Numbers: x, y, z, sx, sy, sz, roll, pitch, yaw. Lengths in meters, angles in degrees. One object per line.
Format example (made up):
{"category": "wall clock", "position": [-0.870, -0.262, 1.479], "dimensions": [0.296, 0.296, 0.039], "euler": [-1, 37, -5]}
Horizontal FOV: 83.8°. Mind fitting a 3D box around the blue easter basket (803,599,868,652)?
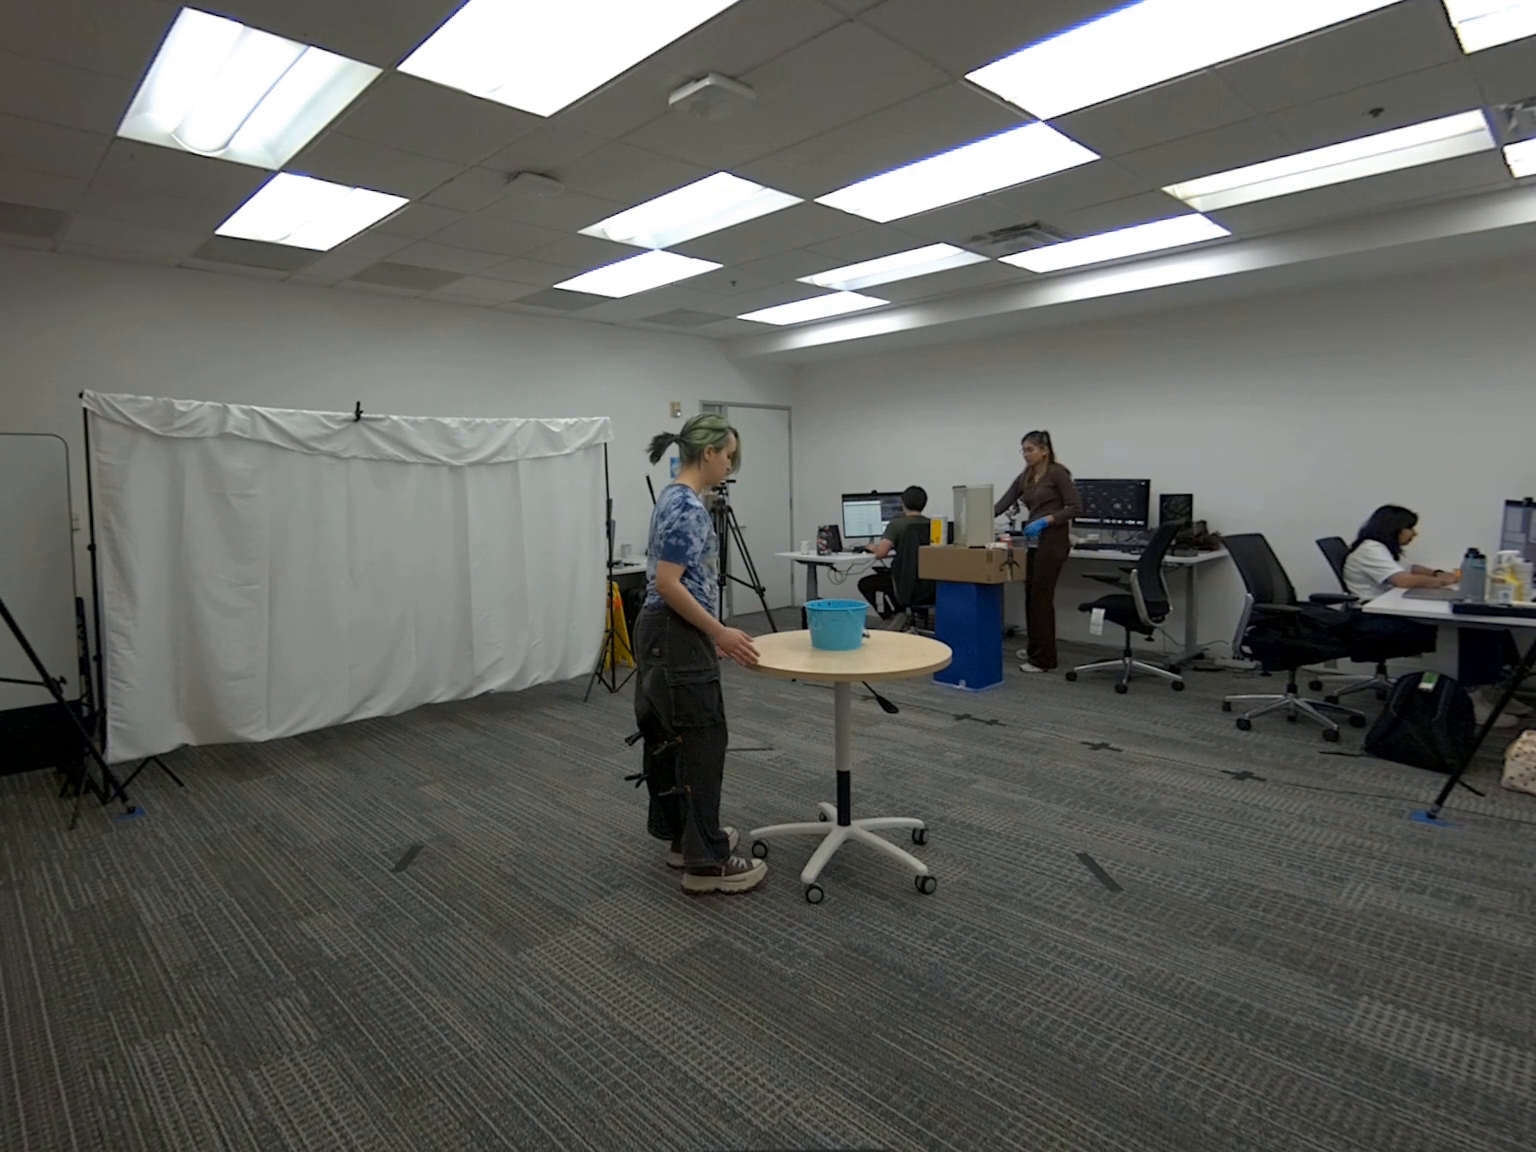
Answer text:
{"category": "blue easter basket", "position": [0.249, 0.180, 3.110], "dimensions": [0.243, 0.155, 0.245], "euler": [-3, 6, -1]}
